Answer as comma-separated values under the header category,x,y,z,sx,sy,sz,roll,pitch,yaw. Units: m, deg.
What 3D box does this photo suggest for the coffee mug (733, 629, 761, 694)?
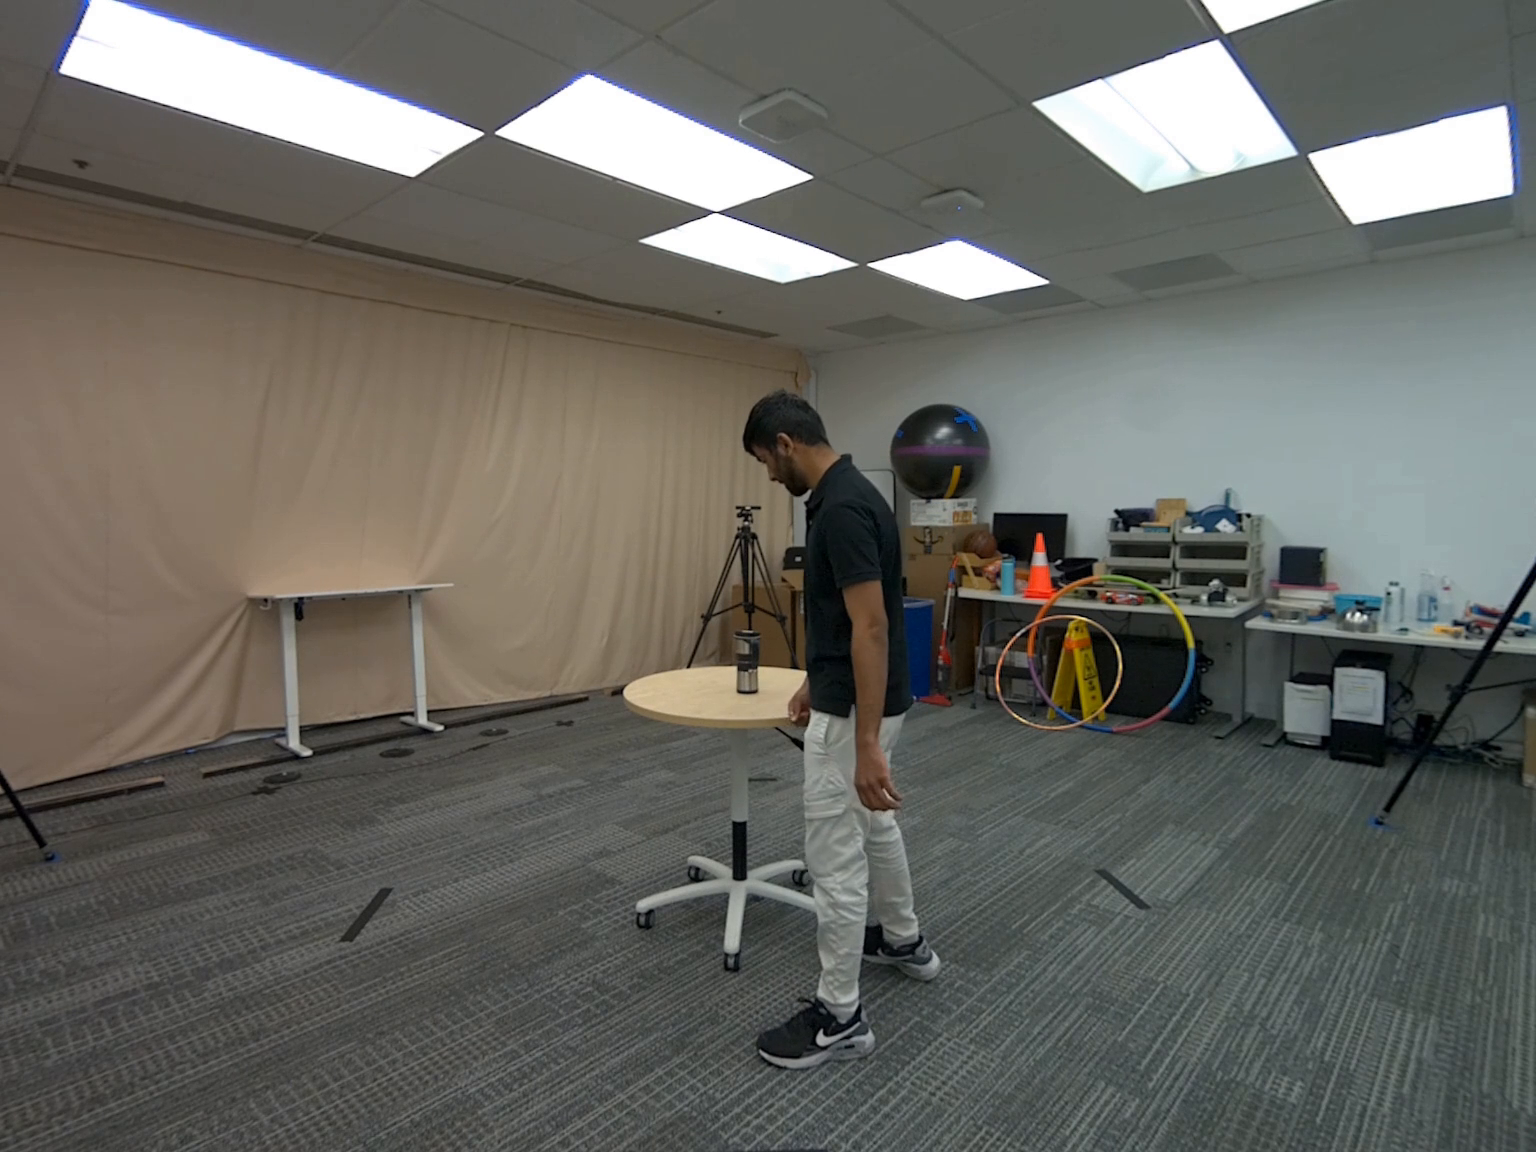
category,x,y,z,sx,sy,sz,roll,pitch,yaw
coffee mug,-0.070,0.285,2.731,0.089,0.203,0.120,5,1,15
